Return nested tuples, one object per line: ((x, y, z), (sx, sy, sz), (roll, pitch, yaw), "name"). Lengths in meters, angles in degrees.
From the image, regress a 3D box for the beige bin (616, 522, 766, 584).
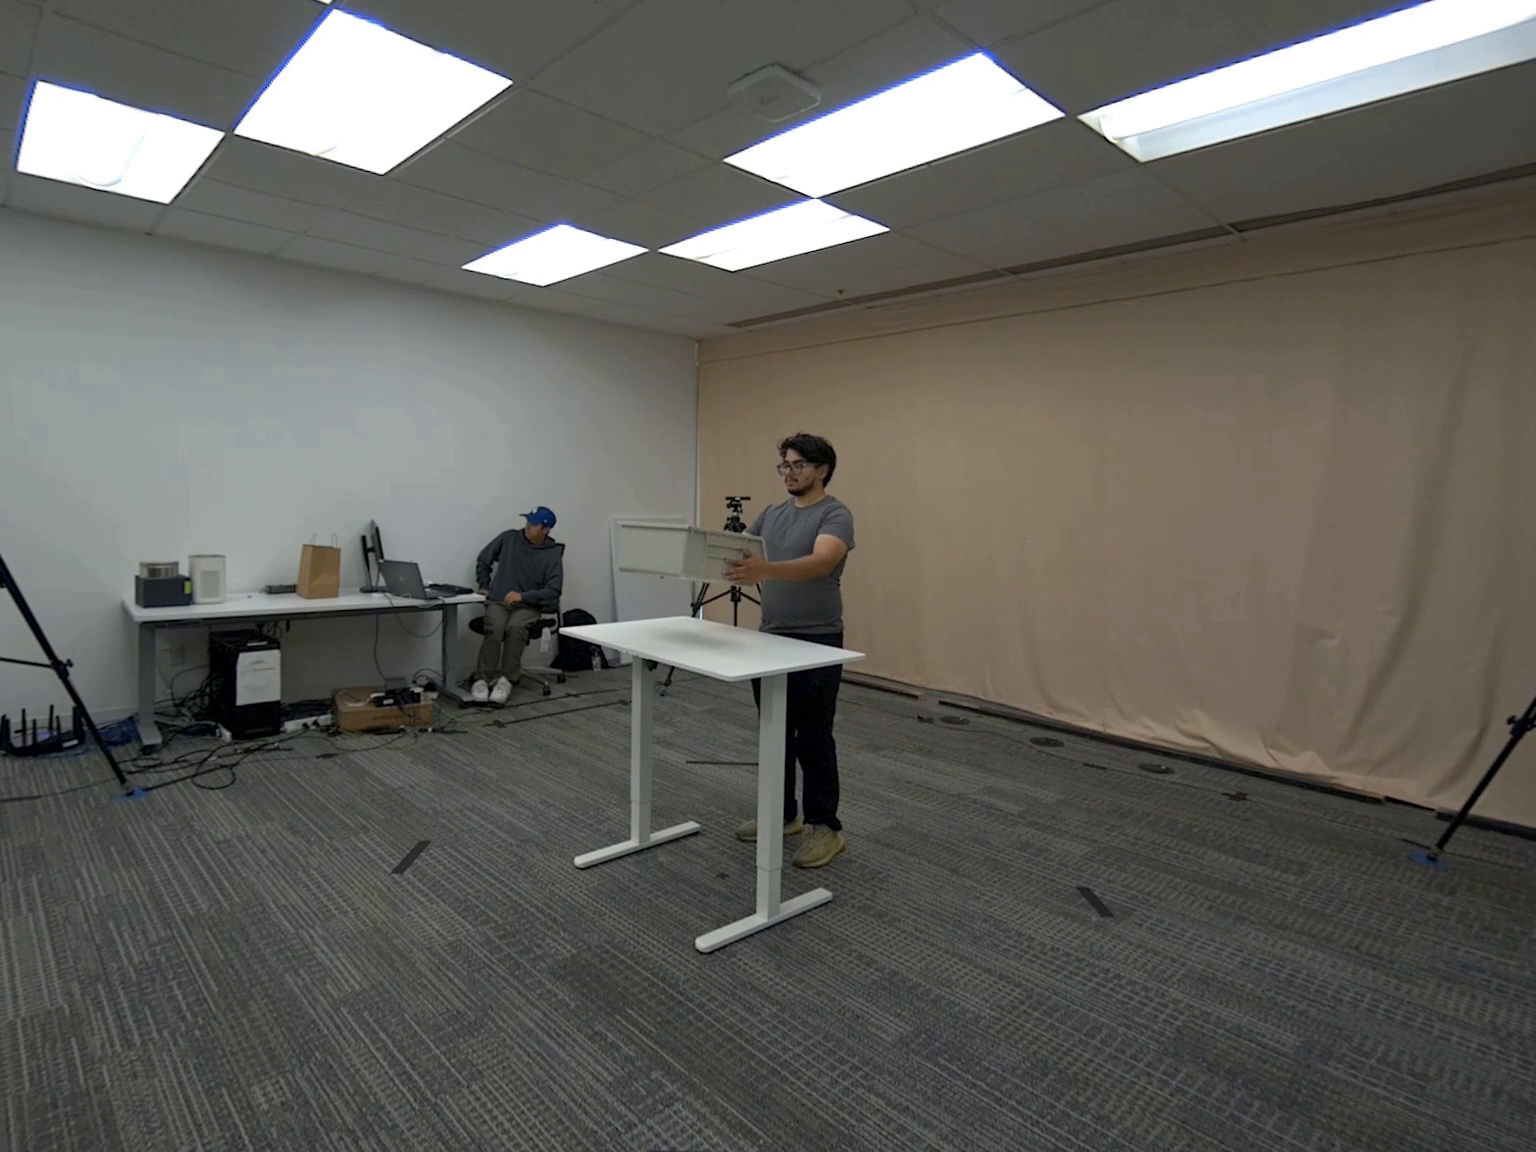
((-0.286, -0.075, 3.000), (0.367, 0.189, 0.433), (7, 0, -42), "beige bin")
